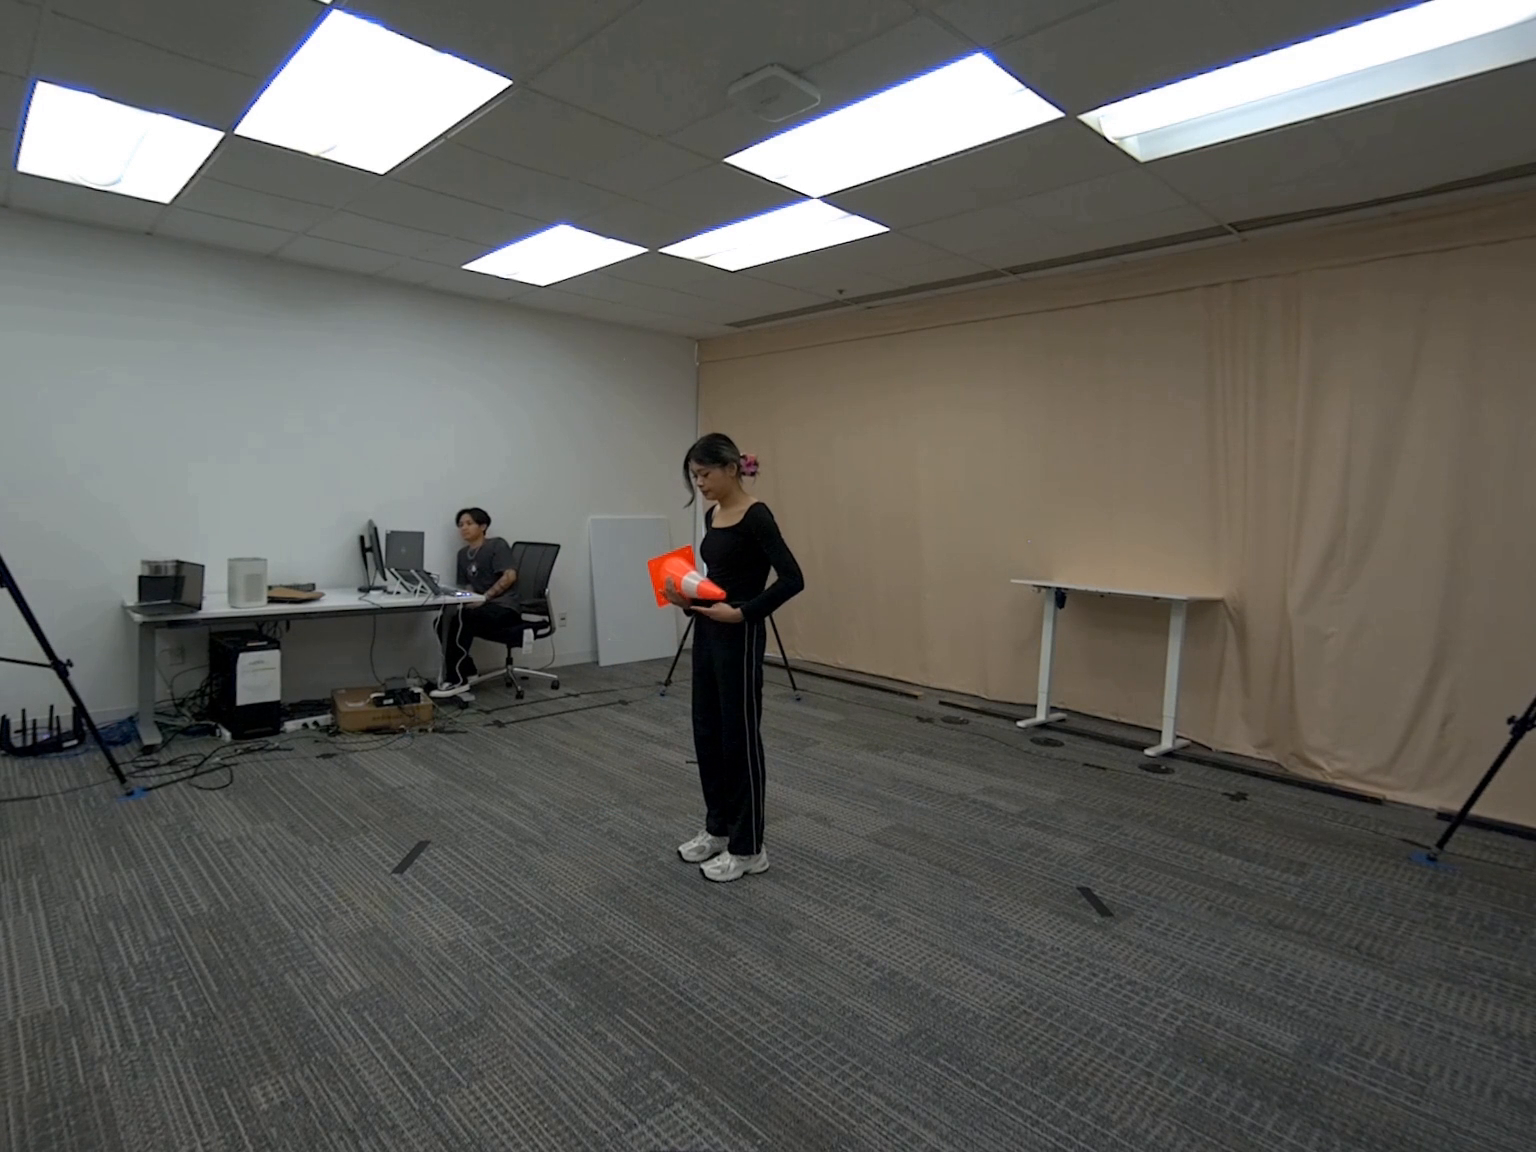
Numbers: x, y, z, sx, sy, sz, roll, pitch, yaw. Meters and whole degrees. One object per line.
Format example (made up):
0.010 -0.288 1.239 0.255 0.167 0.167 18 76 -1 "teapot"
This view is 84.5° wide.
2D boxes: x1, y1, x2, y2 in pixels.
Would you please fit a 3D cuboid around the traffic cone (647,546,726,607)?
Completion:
-0.271 0.042 3.107 0.203 0.200 0.394 -23 23 -27 "traffic cone"
